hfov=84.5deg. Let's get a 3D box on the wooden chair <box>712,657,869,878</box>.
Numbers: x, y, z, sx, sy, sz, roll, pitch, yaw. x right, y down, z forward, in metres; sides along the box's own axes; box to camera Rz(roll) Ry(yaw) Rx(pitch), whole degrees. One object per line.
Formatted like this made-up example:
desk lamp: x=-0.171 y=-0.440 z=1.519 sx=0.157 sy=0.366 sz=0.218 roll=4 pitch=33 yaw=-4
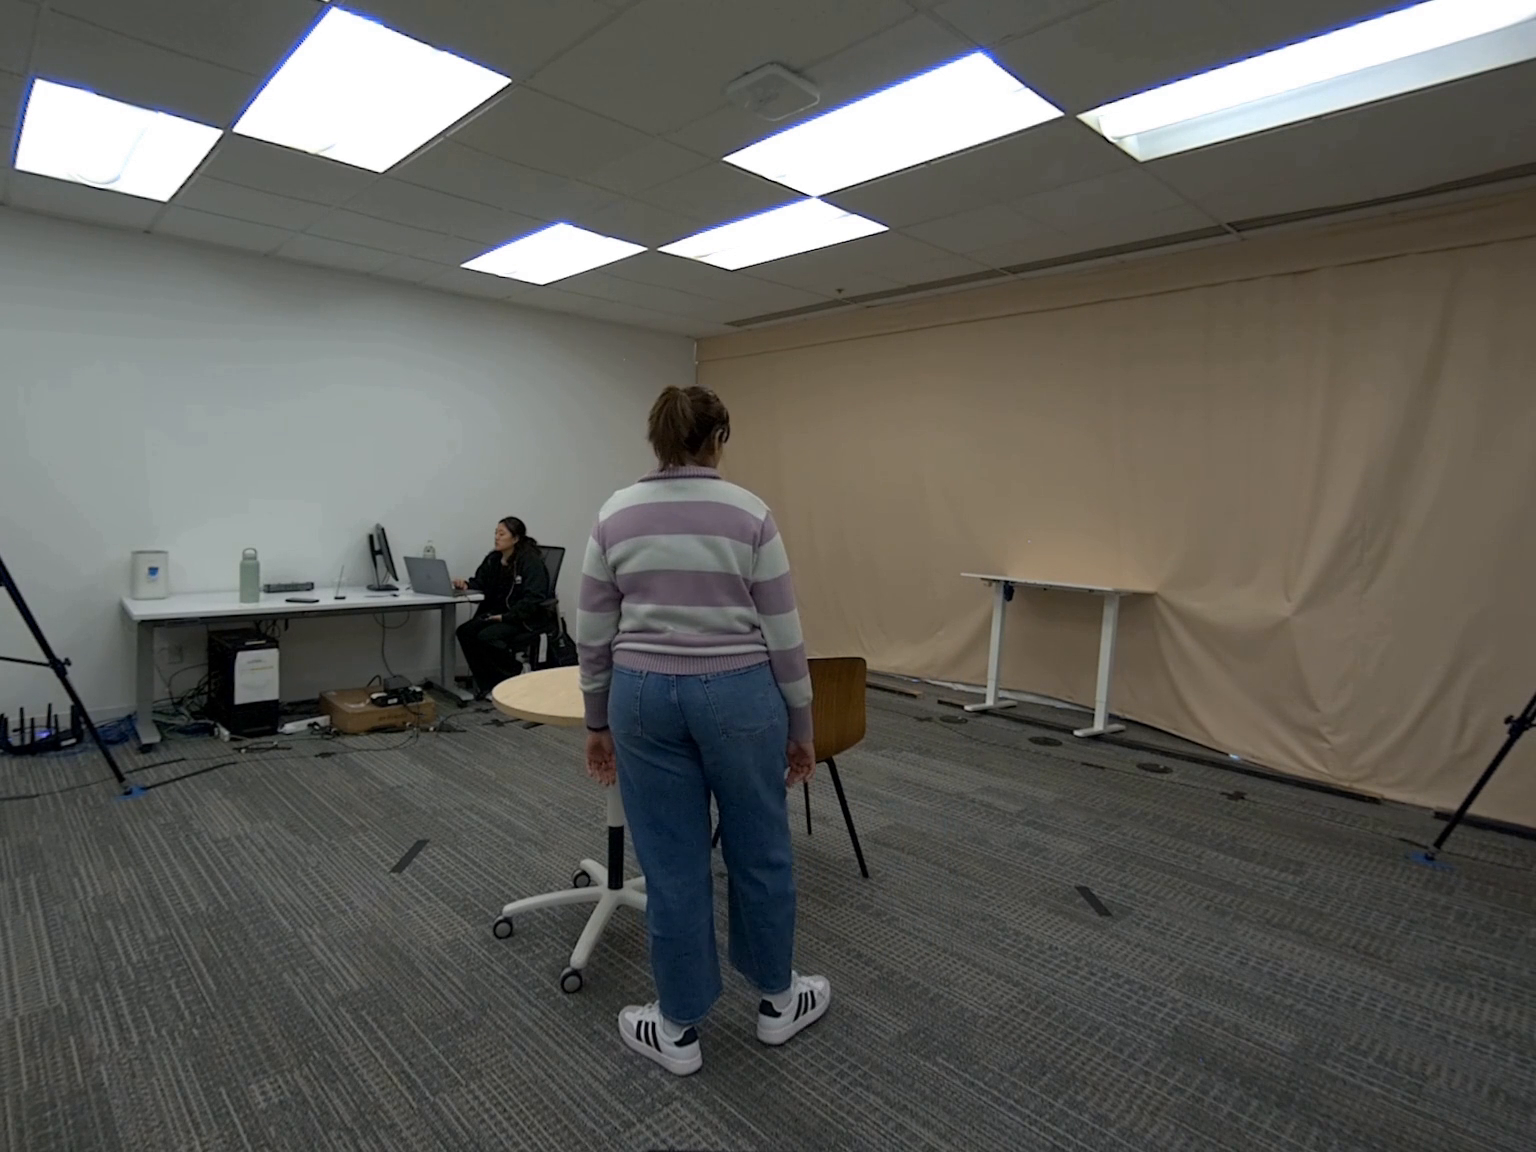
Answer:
wooden chair: x=0.078 y=0.675 z=3.208 sx=0.469 sy=0.873 sz=0.535 roll=0 pitch=8 yaw=-25
